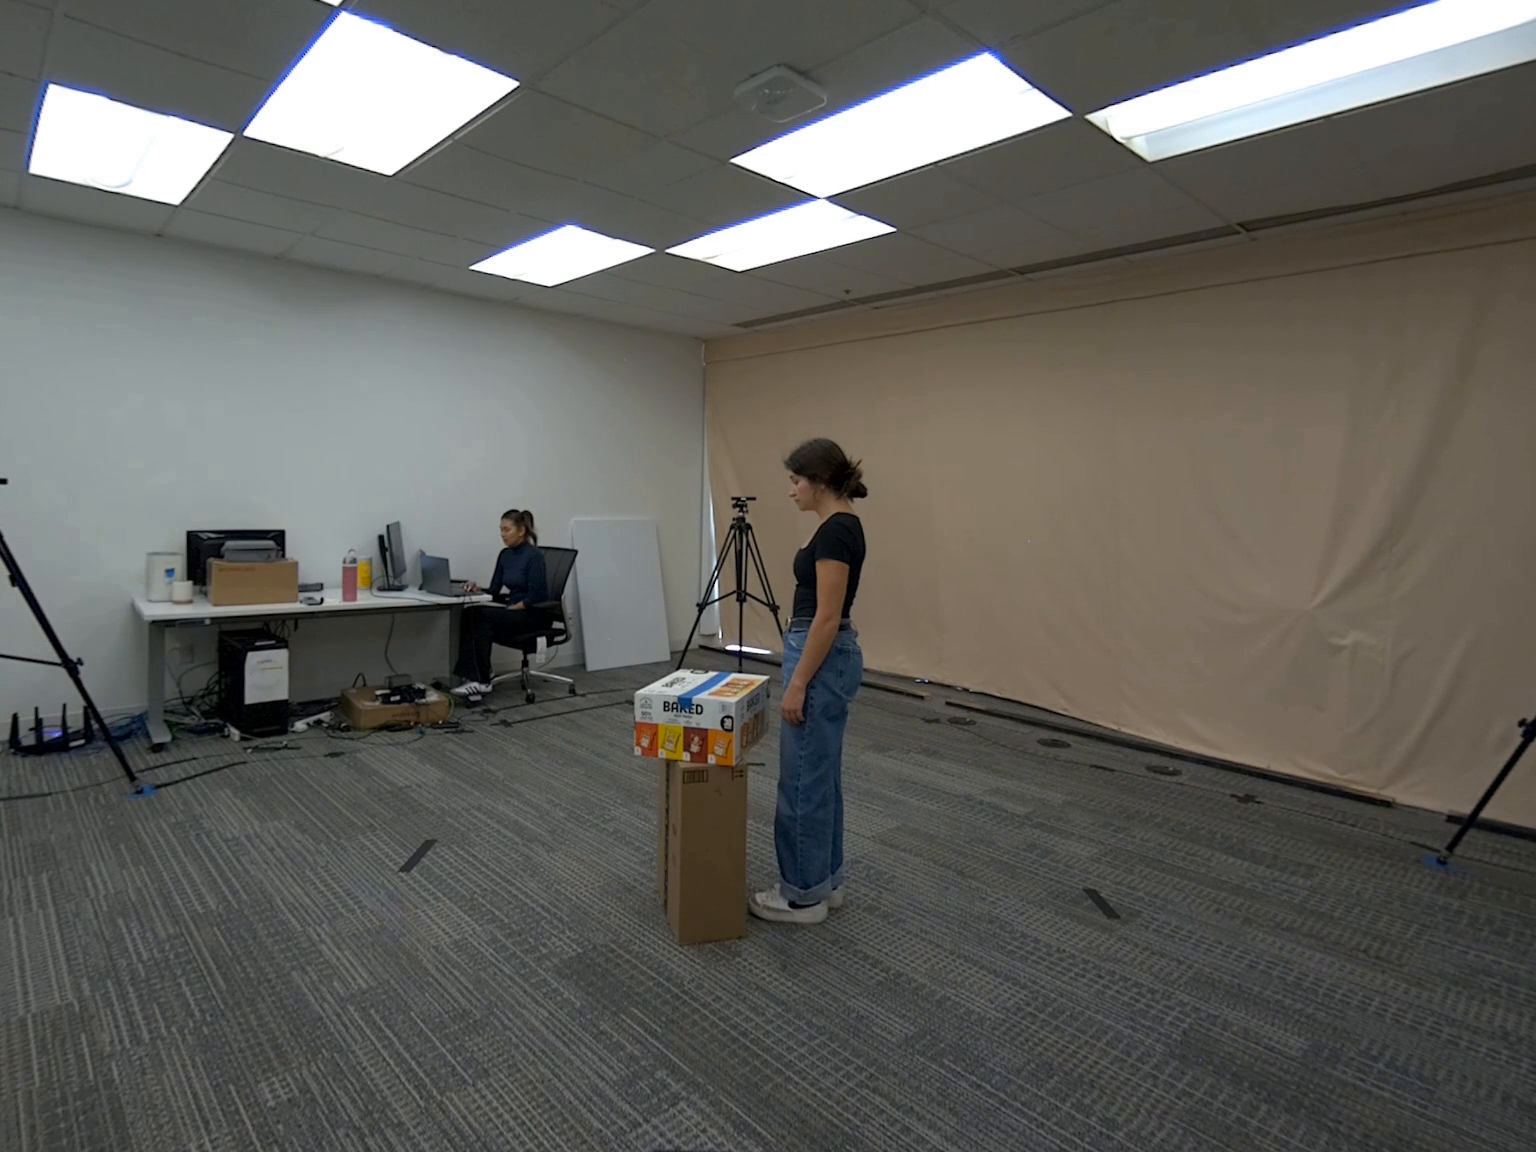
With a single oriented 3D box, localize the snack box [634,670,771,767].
[{"bbox_3d":[-0.212,0.462,2.822,0.345,0.205,0.400,2,5,17],"label":"snack box"}]
